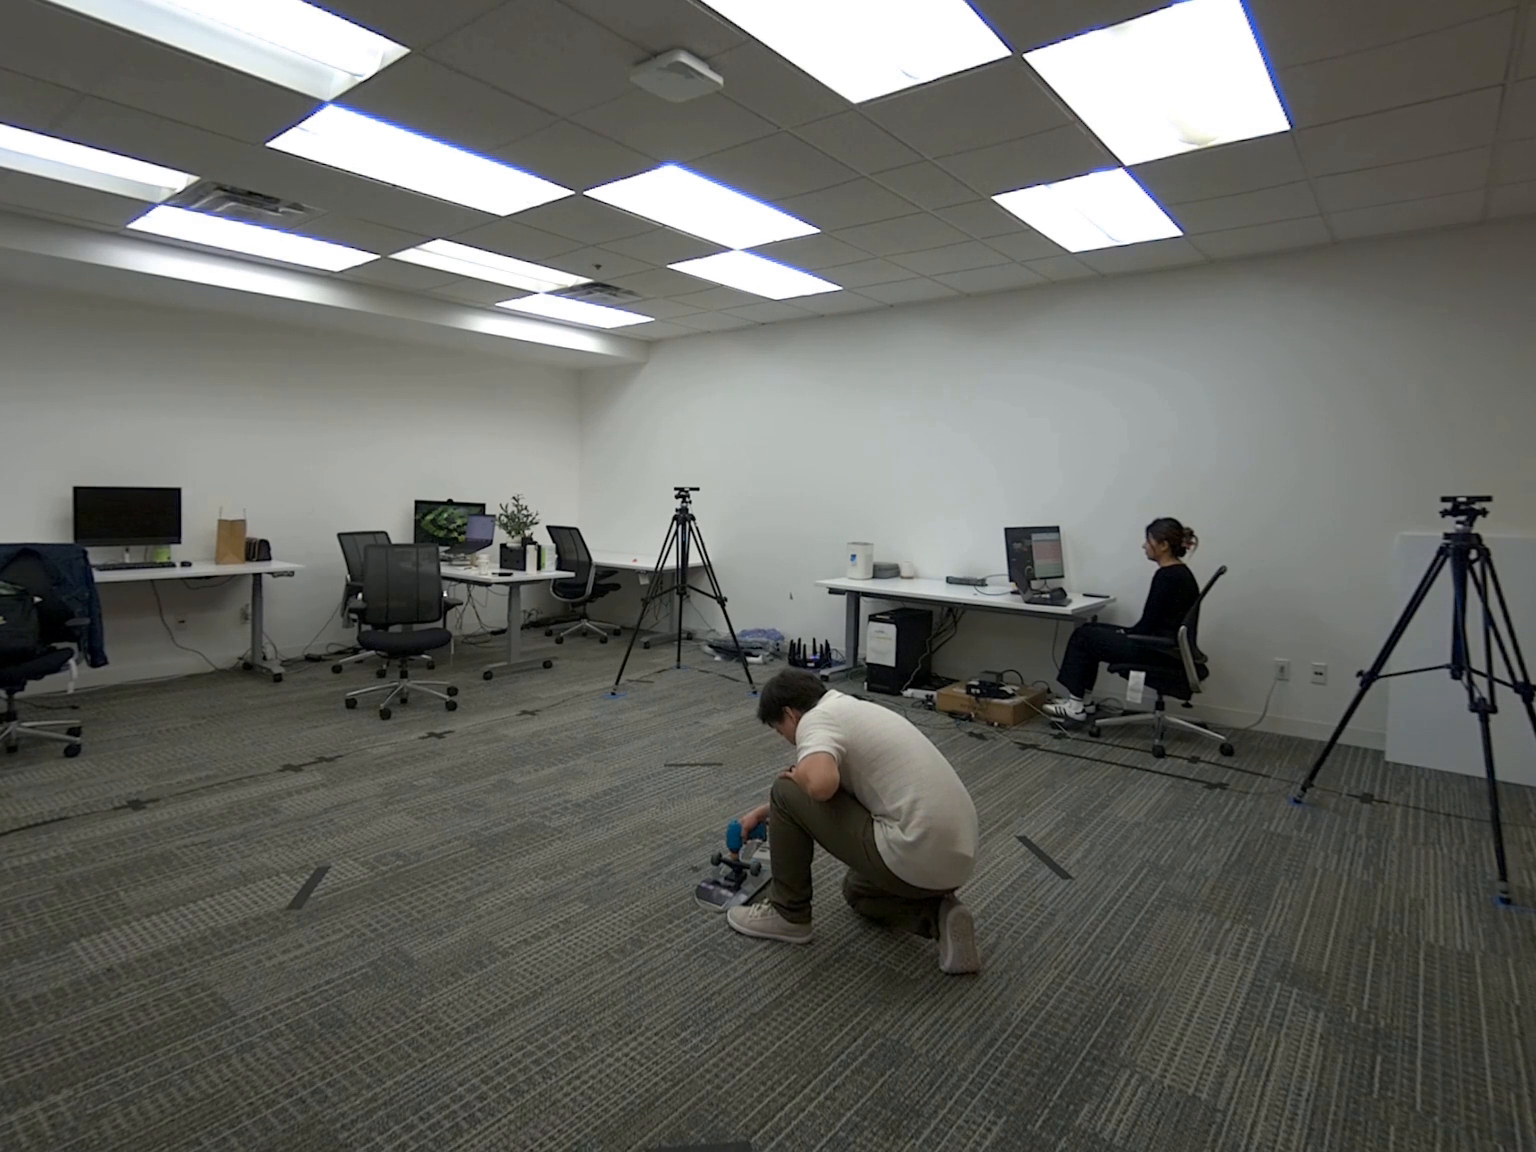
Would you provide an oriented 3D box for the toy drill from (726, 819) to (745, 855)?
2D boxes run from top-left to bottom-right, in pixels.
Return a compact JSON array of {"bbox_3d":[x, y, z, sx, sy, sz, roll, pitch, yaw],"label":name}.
[{"bbox_3d":[-0.083,0.946,3.012,0.145,0.170,0.061,-3,-1,-6],"label":"toy drill"}]
